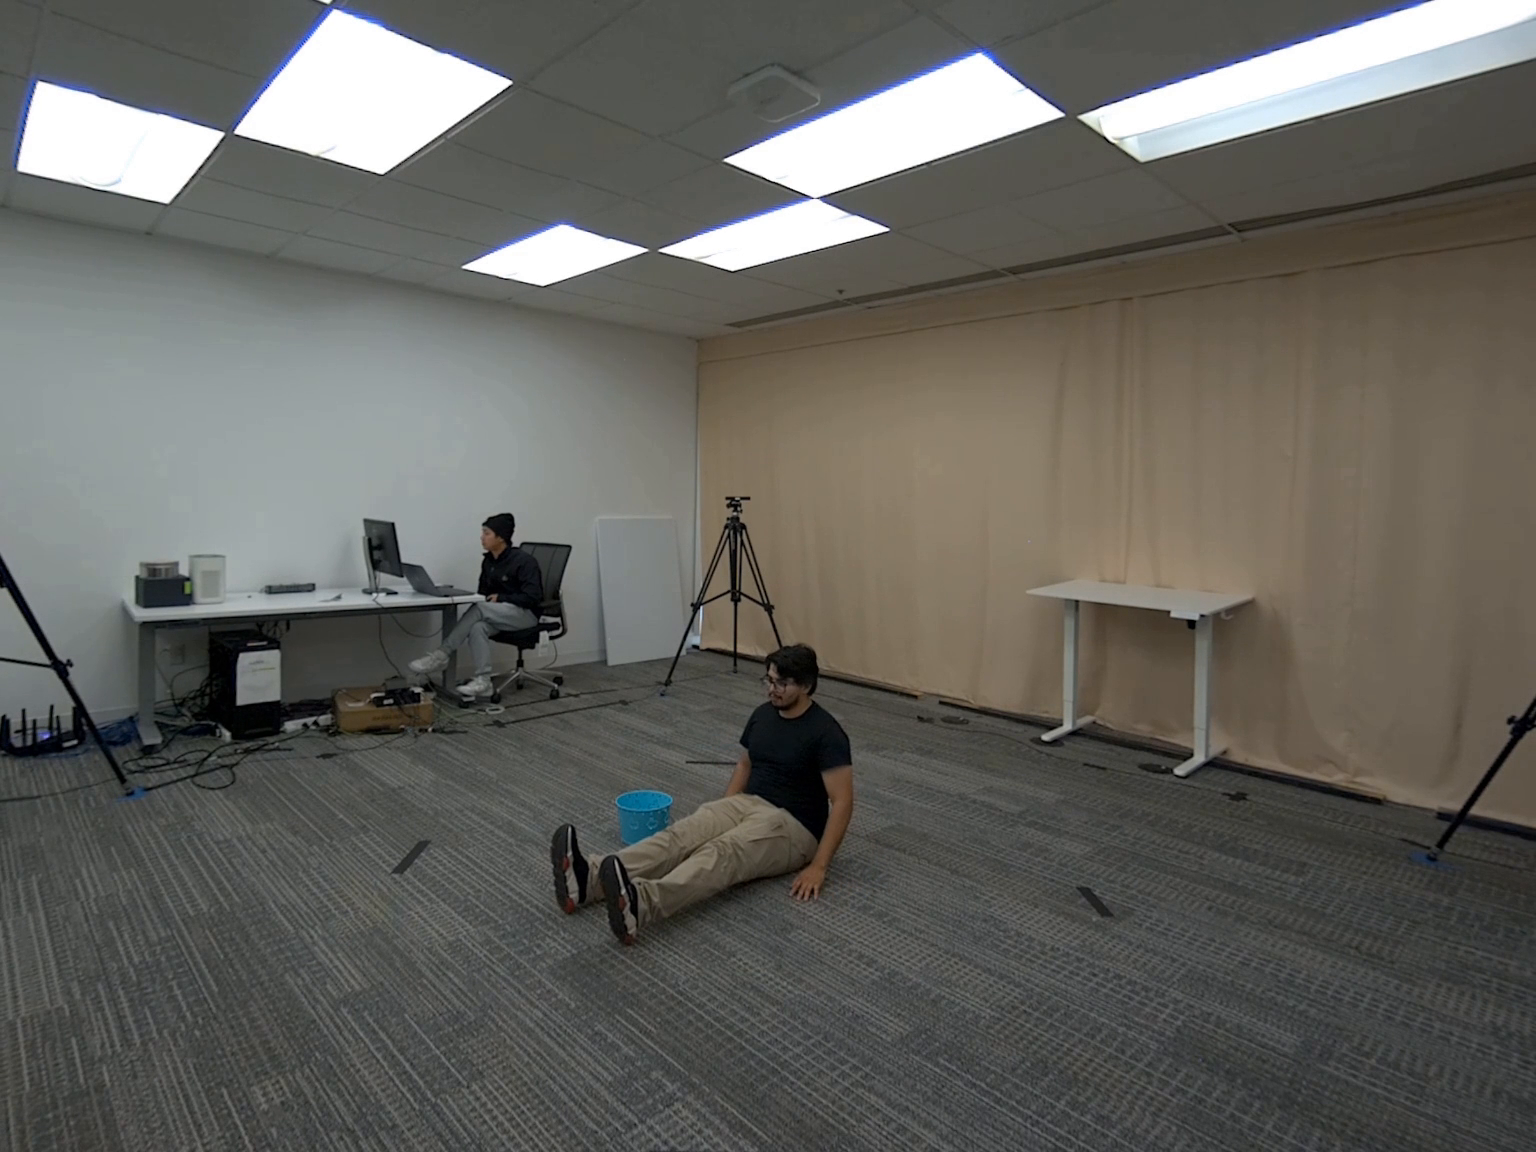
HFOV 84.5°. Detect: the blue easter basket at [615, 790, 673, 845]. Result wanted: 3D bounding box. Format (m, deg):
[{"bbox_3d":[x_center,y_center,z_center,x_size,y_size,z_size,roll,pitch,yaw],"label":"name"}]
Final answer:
[{"bbox_3d":[-0.503,0.984,3.445,0.243,0.155,0.244,1,5,-1],"label":"blue easter basket"}]
